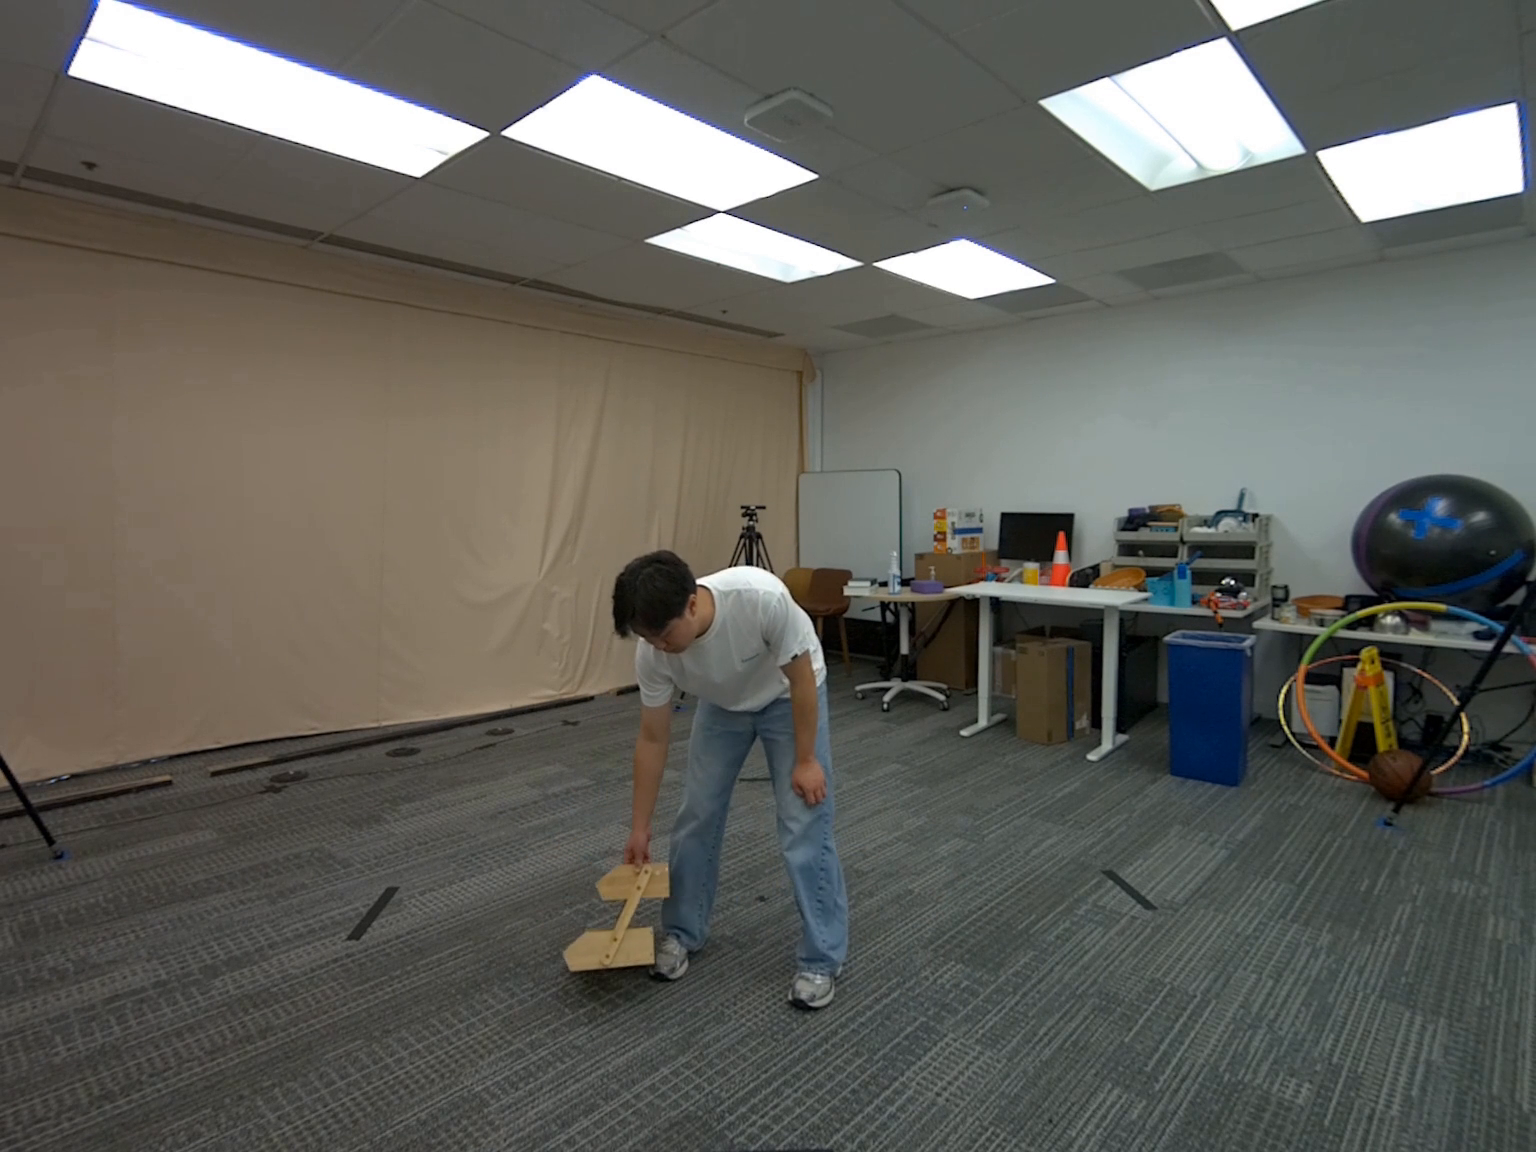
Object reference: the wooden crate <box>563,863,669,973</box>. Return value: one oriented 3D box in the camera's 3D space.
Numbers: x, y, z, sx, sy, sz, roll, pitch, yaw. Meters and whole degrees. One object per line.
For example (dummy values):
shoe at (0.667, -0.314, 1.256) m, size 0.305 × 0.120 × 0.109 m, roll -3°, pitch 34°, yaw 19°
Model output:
wooden crate at (-0.455, 1.005, 2.502) m, size 0.298 × 0.277 × 0.323 m, roll 1°, pitch -22°, yaw -11°
